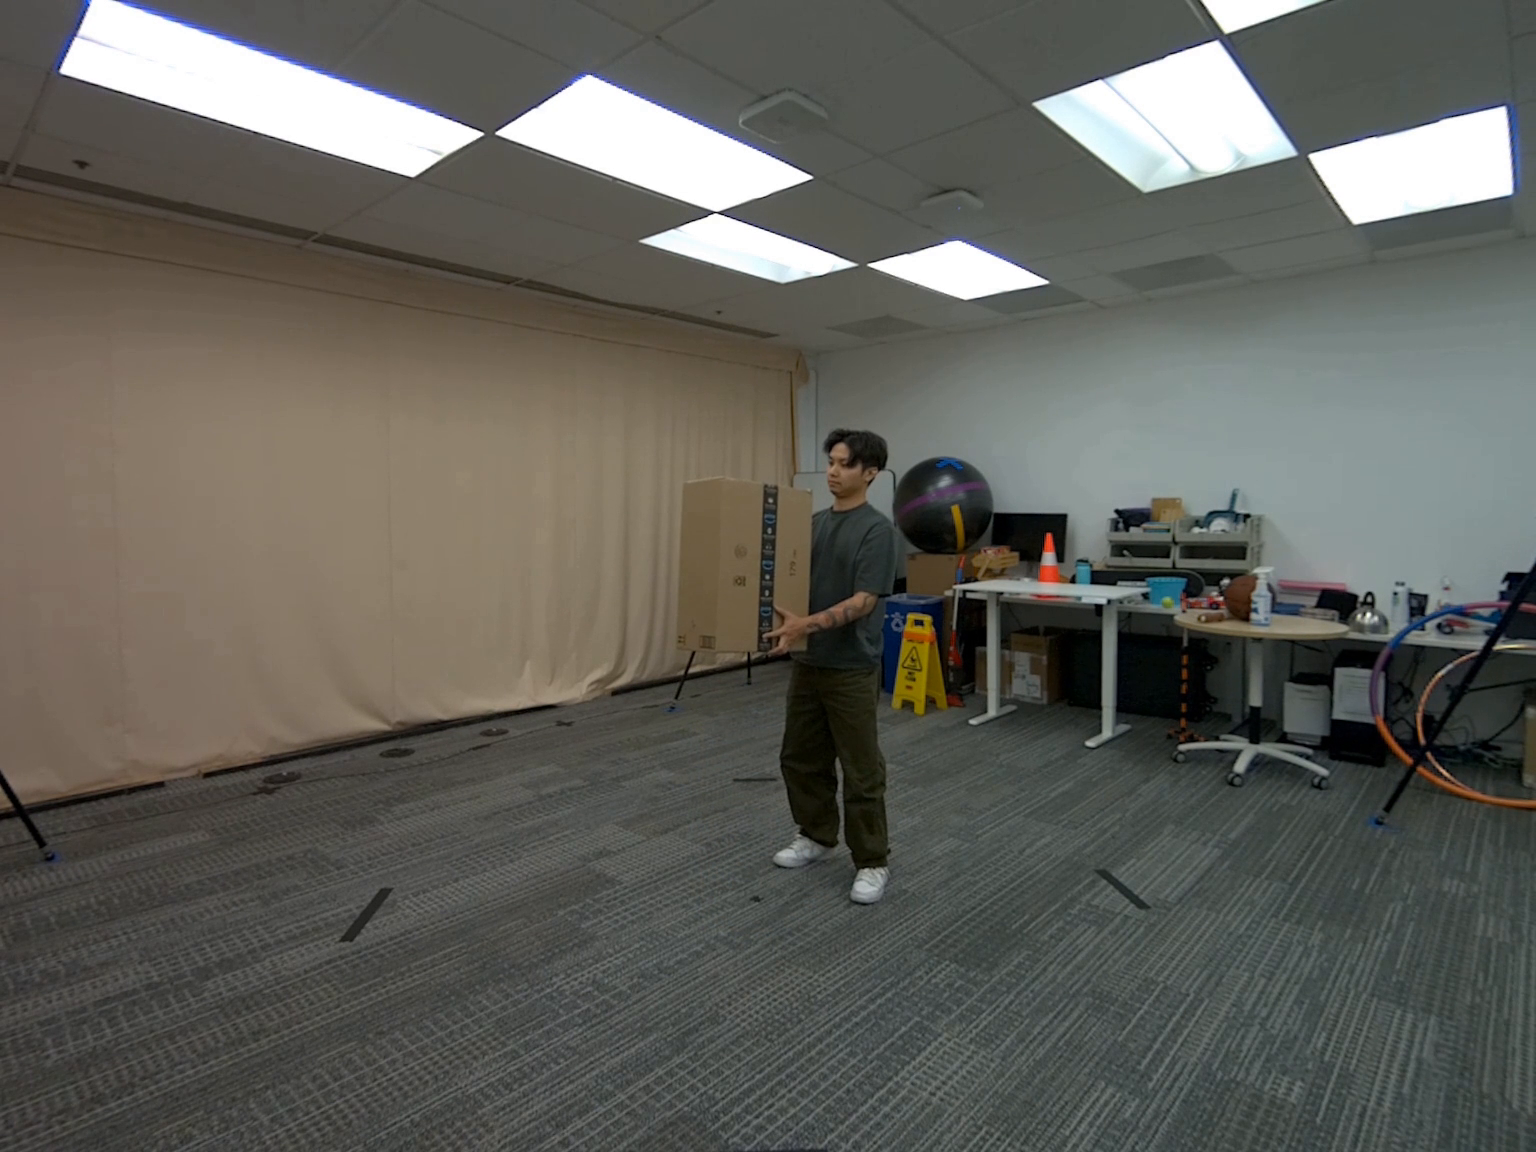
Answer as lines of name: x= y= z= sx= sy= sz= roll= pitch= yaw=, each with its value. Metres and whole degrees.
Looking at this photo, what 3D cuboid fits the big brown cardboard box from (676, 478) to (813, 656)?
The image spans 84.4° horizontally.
big brown cardboard box: x=-0.074 y=-0.034 z=2.893 sx=0.404 sy=0.590 sz=0.240 roll=5 pitch=-6 yaw=-41
